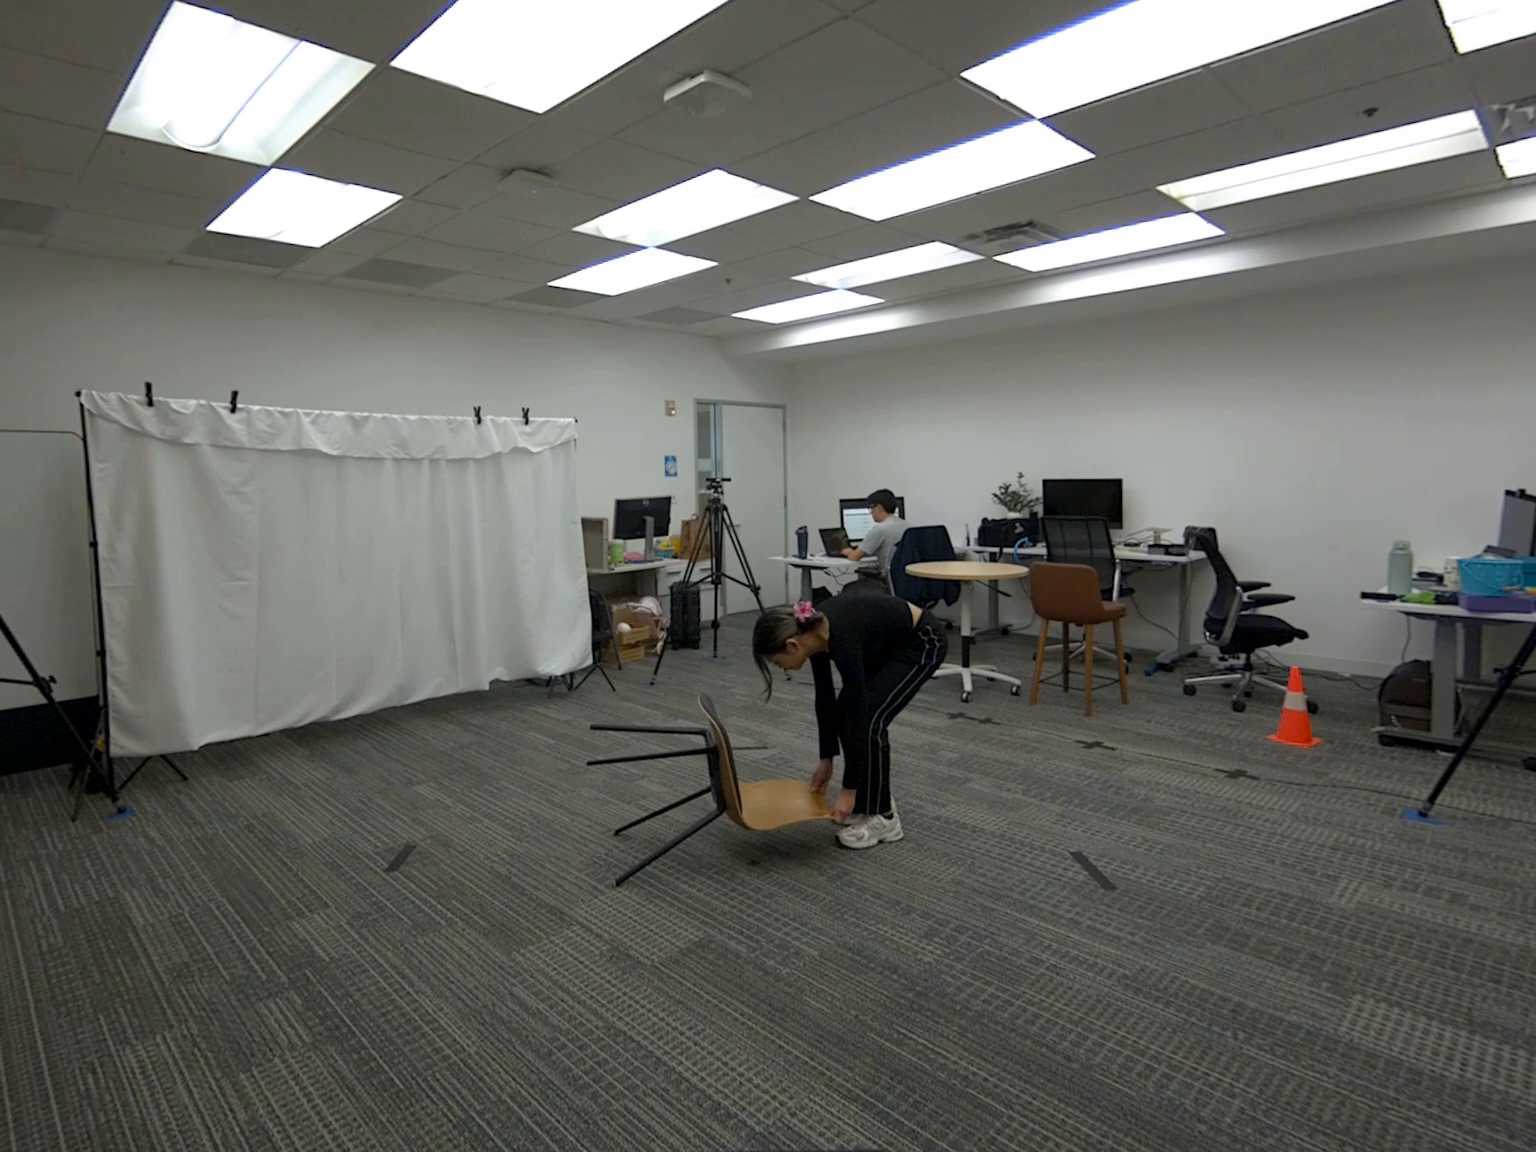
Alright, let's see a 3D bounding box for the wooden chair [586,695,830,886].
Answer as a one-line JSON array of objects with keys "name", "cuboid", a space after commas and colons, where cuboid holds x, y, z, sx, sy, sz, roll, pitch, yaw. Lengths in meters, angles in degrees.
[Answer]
[{"name": "wooden chair", "cuboid": [-0.194, 0.716, 3.183, 0.872, 0.520, 0.484, -9, 6, -8]}]
